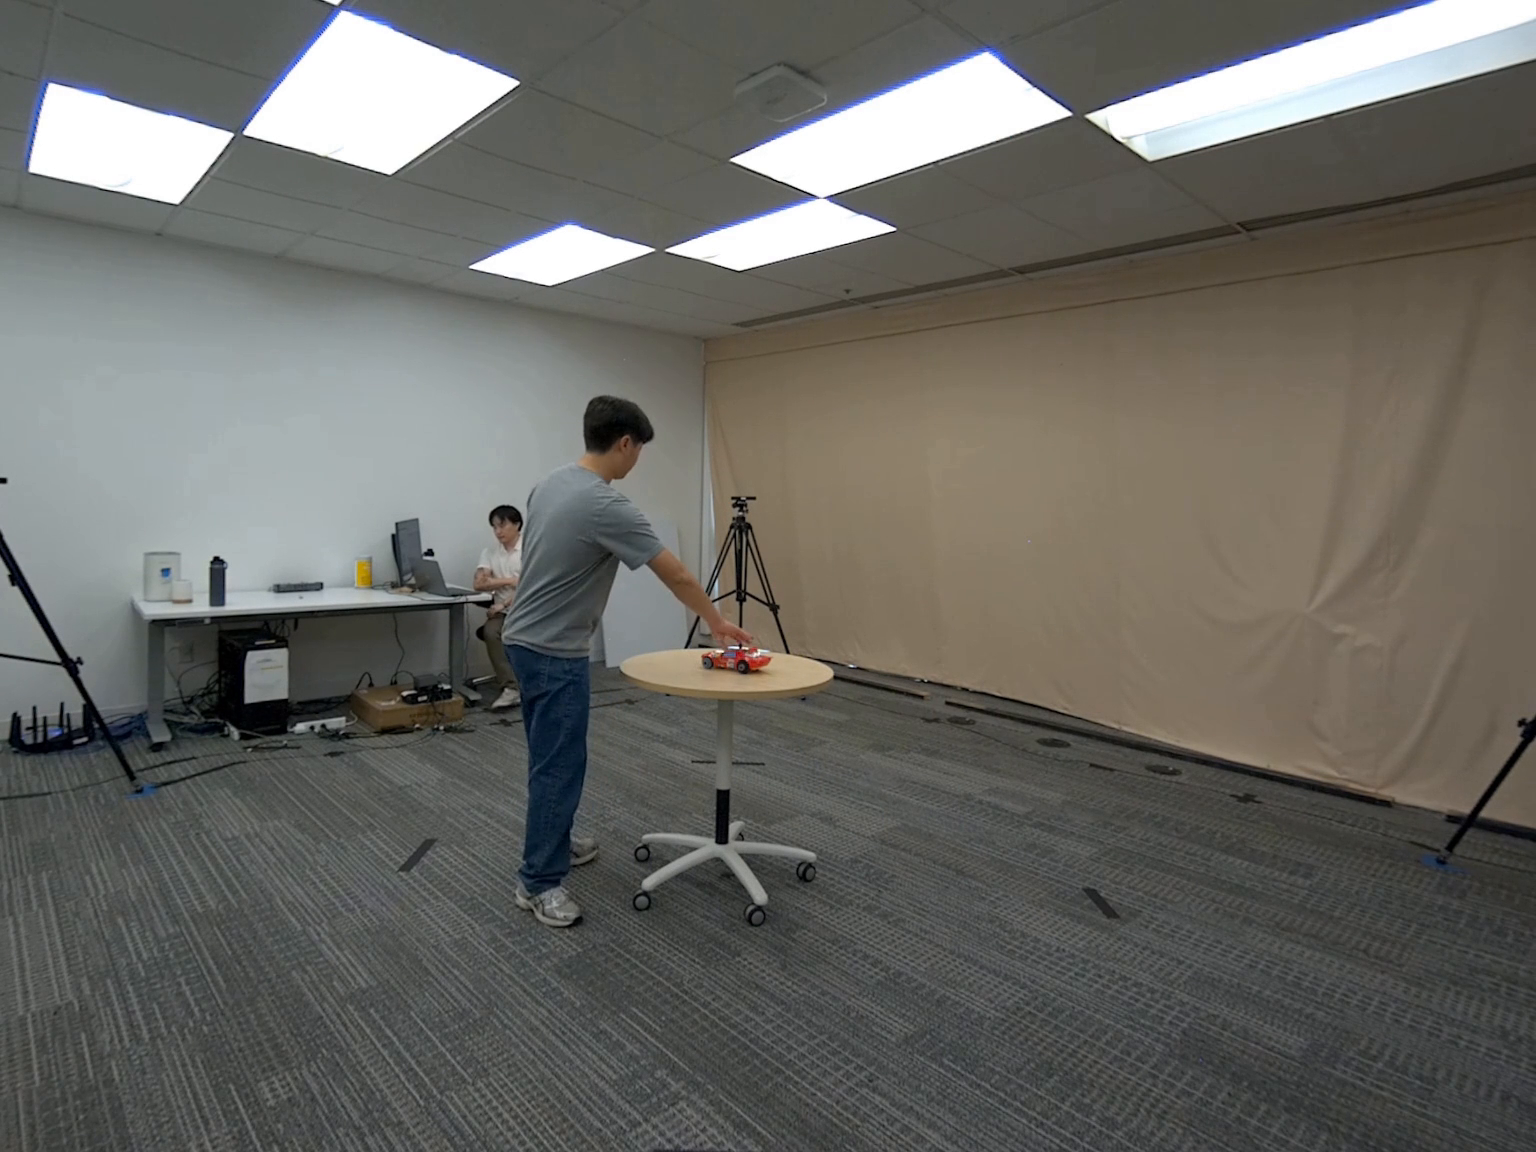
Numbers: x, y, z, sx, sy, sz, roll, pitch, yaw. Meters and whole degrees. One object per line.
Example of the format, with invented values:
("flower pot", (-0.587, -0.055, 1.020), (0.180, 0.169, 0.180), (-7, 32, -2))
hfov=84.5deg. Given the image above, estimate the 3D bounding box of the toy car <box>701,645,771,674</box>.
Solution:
("toy car", (-0.116, 0.302, 2.986), (0.259, 0.083, 0.128), (-7, -1, 29))
